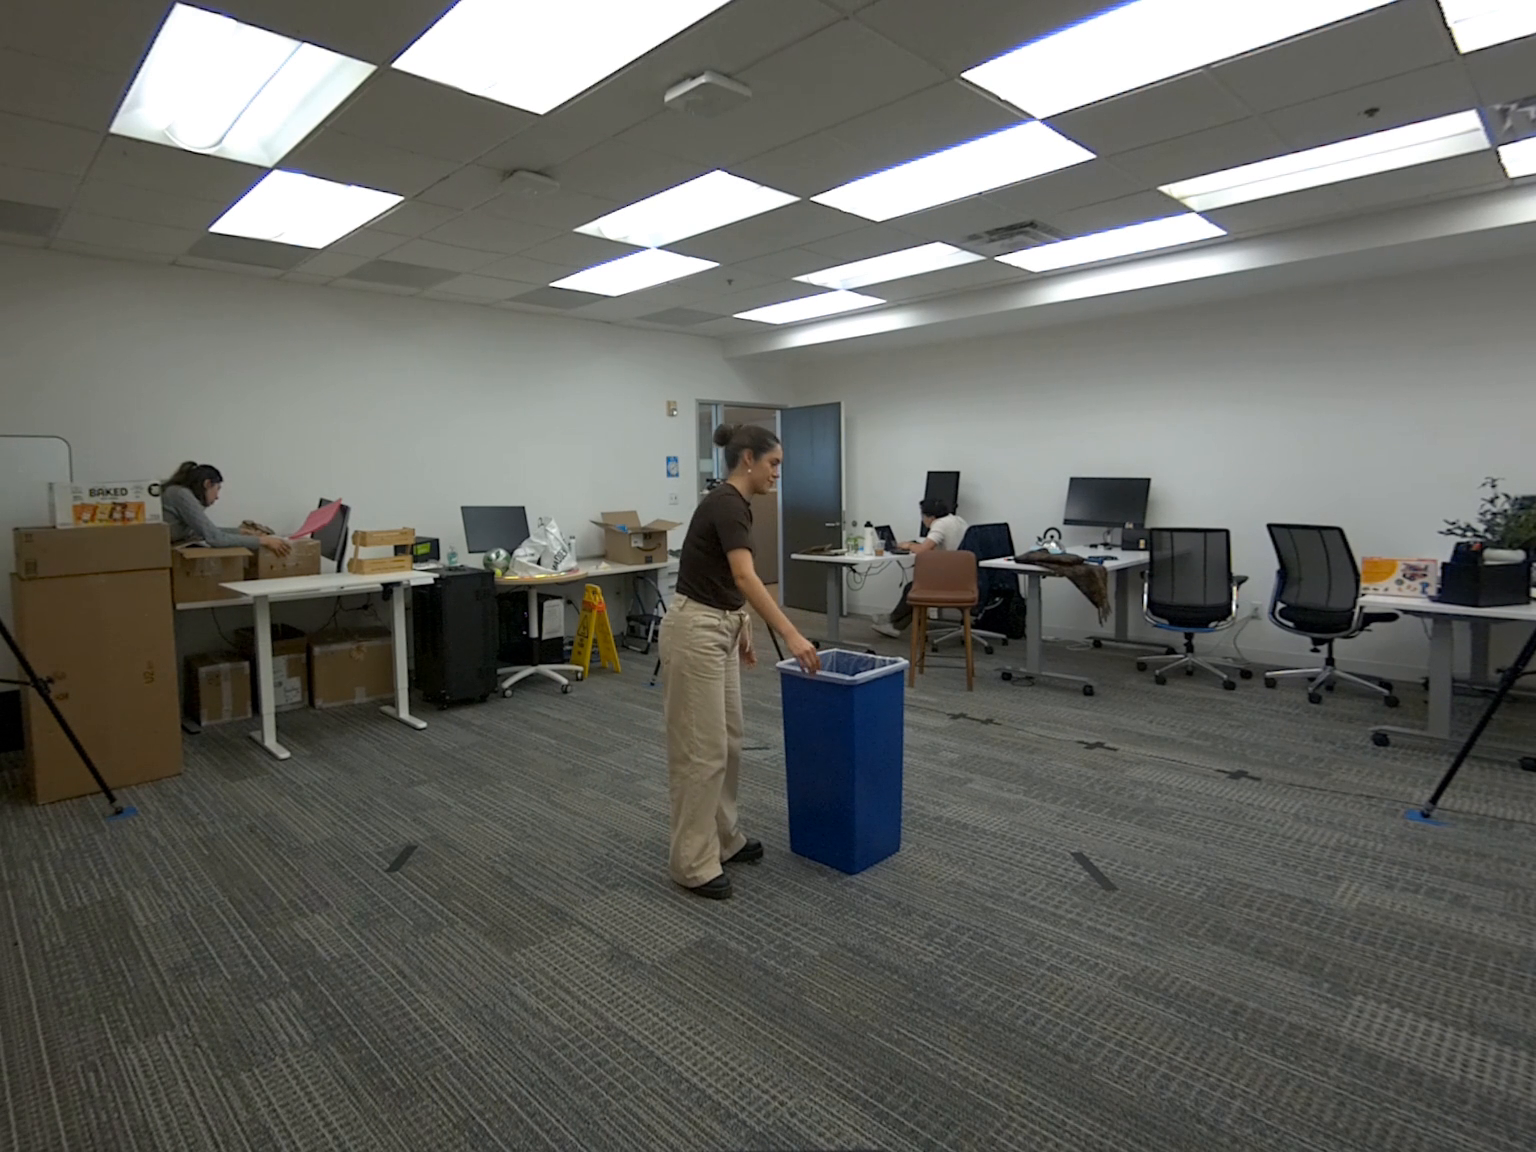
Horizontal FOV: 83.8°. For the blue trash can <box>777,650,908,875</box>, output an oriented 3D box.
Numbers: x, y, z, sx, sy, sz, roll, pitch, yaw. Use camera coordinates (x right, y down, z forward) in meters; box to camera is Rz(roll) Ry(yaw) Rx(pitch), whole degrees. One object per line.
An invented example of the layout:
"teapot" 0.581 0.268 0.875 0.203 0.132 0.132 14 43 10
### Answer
"blue trash can" 0.283 0.673 3.169 0.389 0.711 0.364 3 5 43
